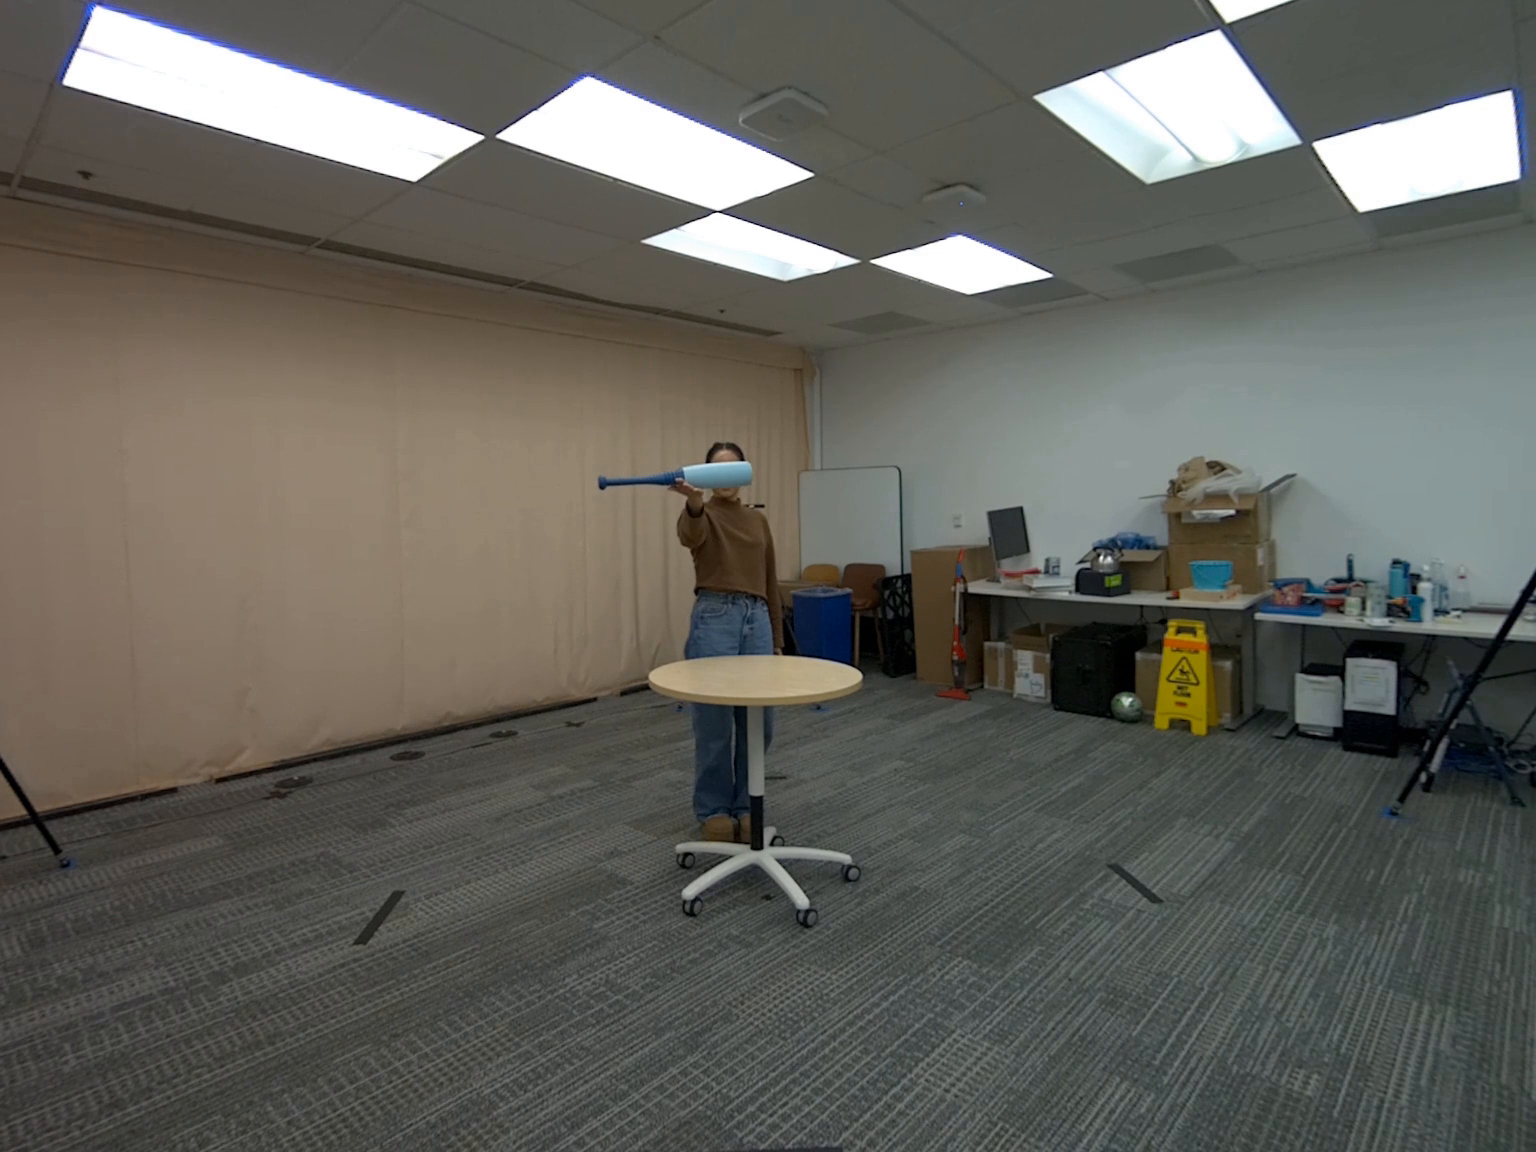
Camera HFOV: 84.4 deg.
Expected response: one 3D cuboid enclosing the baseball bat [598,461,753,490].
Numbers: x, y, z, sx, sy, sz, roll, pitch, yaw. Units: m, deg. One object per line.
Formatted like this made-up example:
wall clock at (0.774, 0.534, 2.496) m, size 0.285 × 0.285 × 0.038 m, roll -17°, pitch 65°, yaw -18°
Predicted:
baseball bat at (-0.313, -0.338, 2.915) m, size 0.535 × 0.089 × 0.090 m, roll -6°, pitch 5°, yaw -14°
